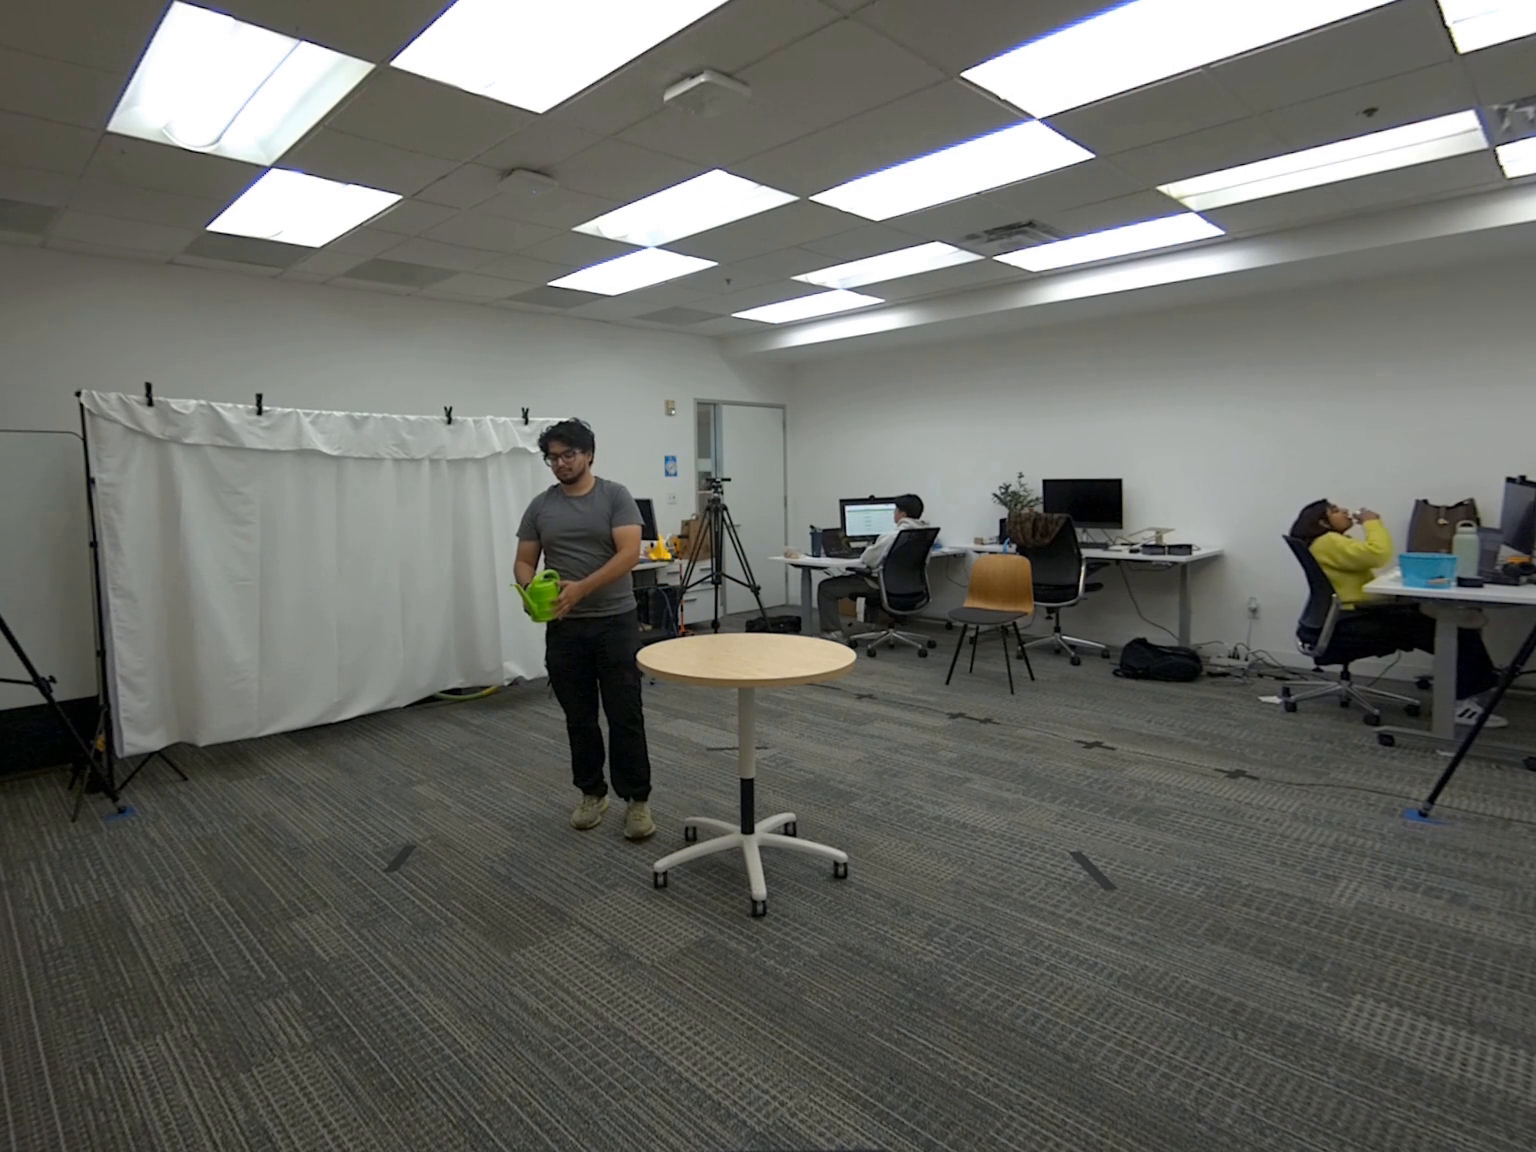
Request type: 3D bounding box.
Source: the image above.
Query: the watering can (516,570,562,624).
[{"bbox_3d":[-0.852,0.084,3.111,0.100,0.175,0.275,-3,12,27],"label":"watering can"}]
